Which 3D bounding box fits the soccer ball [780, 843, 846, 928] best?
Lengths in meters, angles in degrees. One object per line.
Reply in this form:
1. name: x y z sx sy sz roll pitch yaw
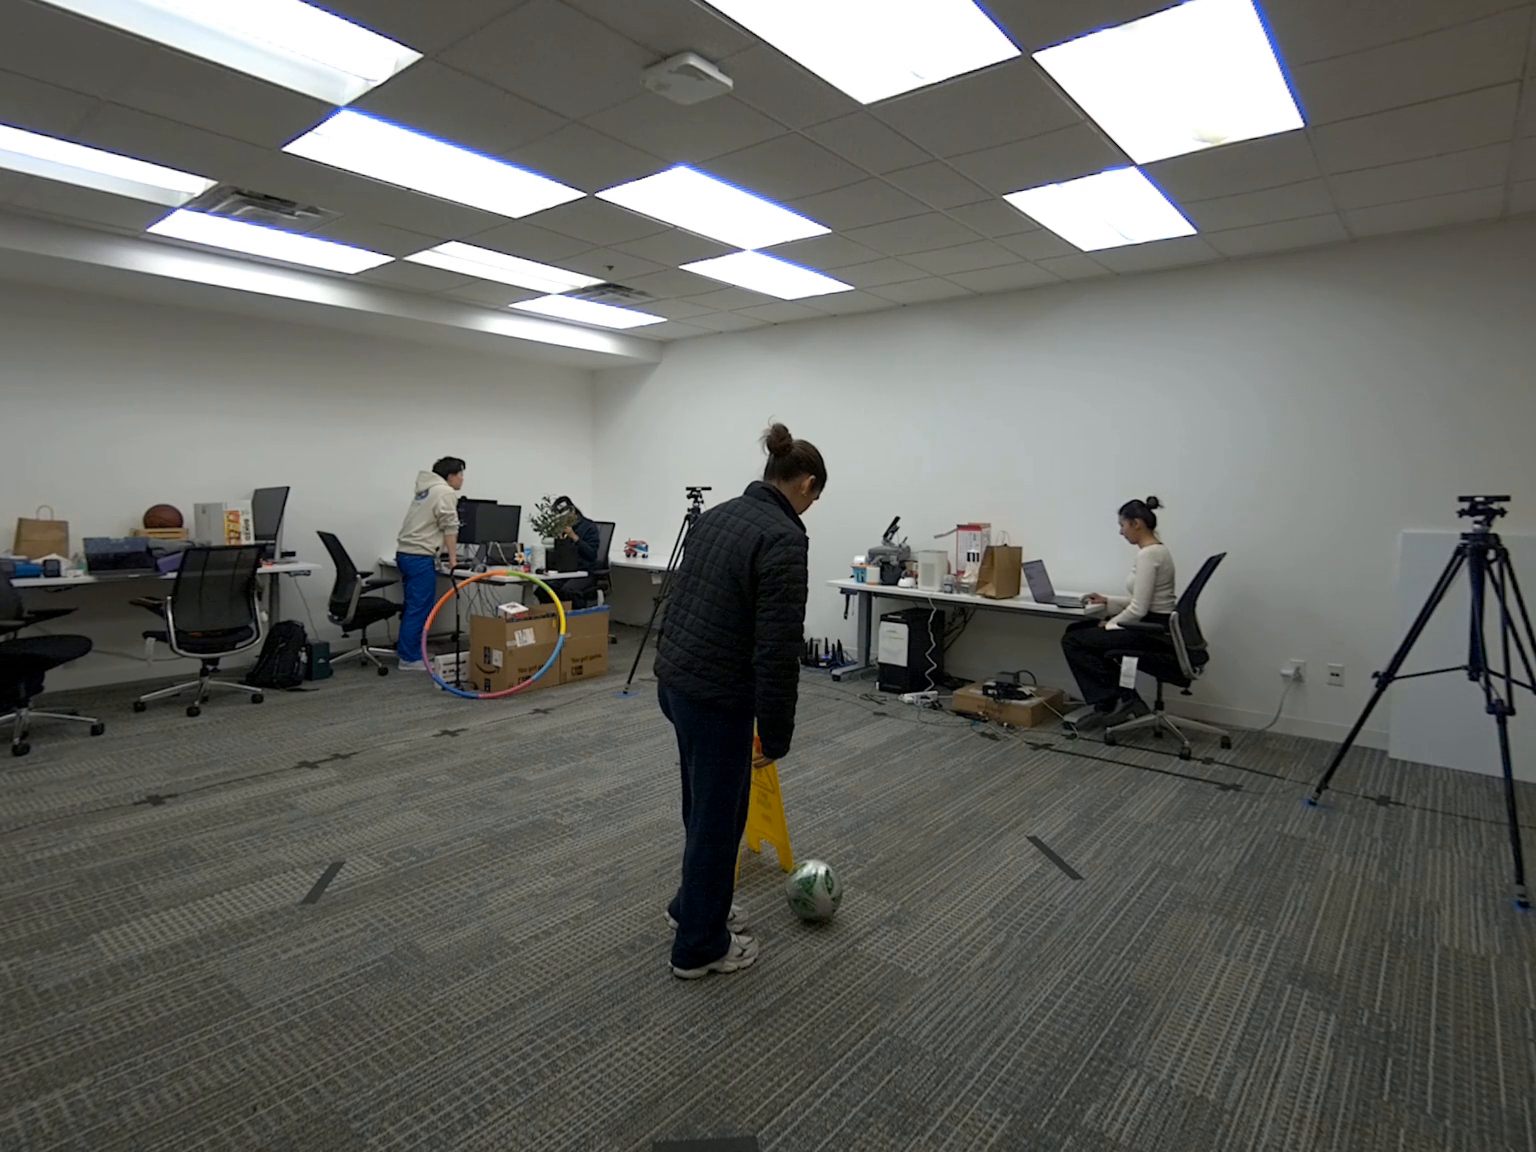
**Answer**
1. soccer ball: 0.142 1.006 2.747 0.187 0.187 0.188 1 4 -2
